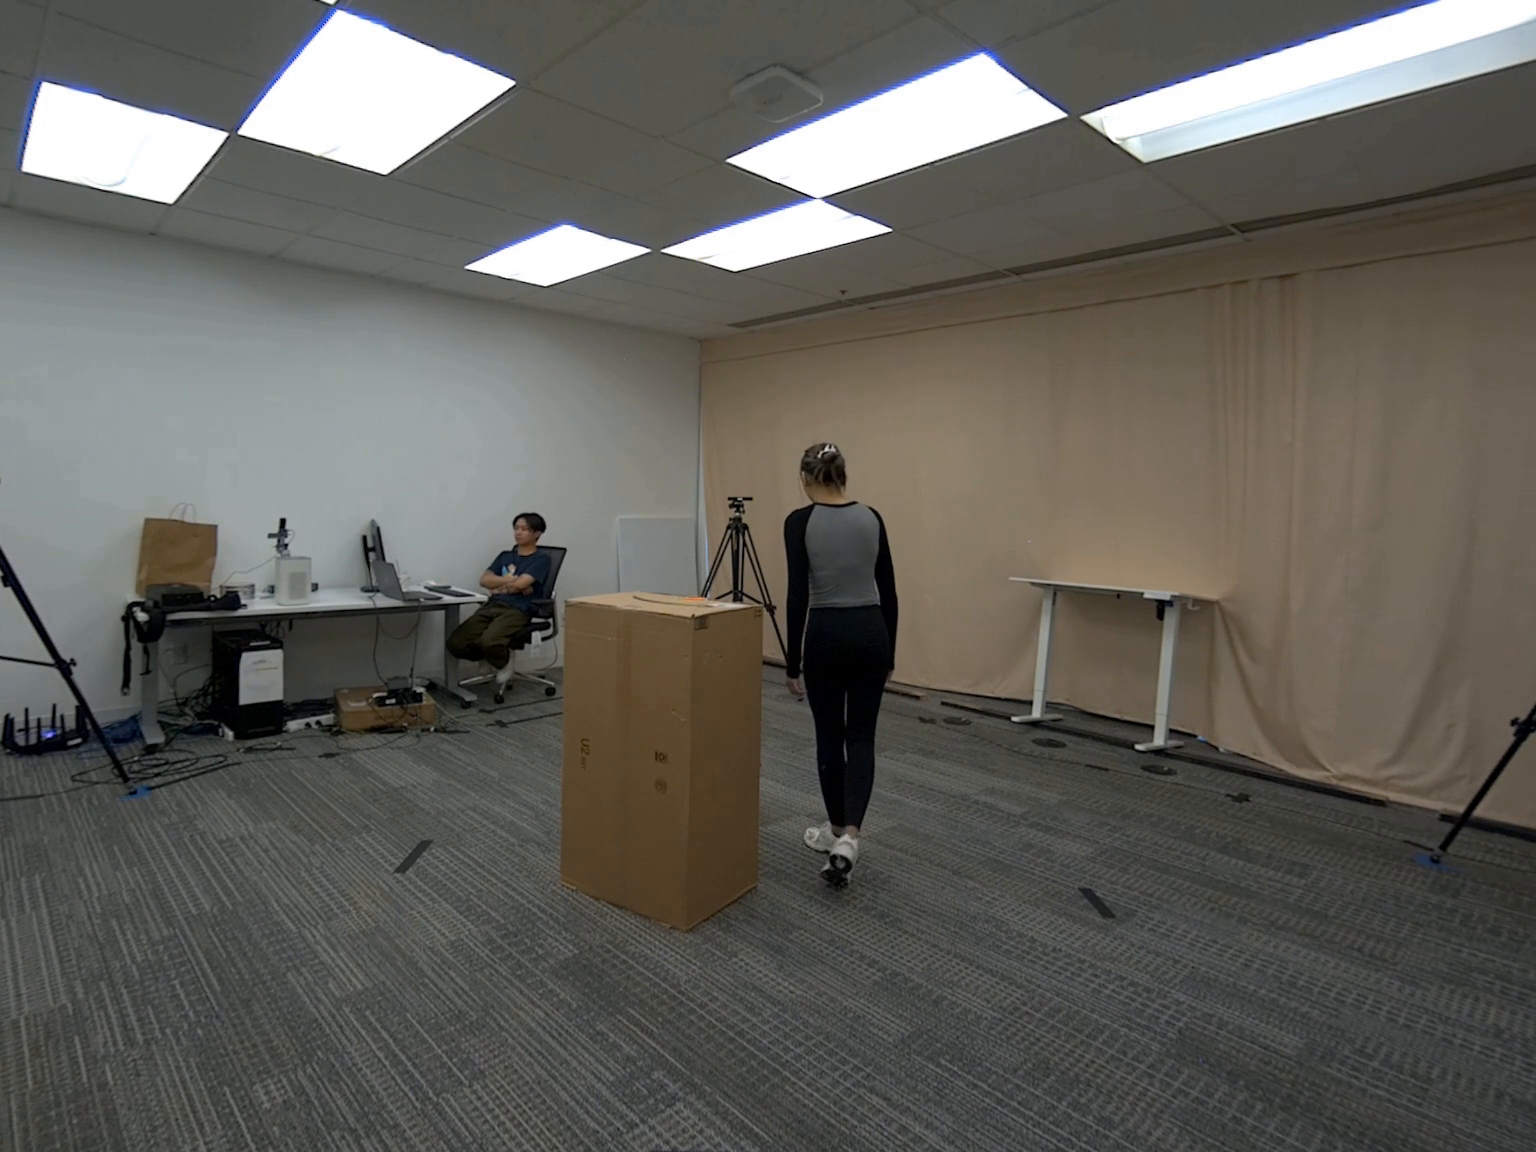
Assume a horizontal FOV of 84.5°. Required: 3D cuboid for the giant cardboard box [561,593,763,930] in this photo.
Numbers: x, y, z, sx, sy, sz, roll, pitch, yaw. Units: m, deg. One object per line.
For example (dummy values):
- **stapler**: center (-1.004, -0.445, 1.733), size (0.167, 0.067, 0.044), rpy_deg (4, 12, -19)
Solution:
- **giant cardboard box**: center (-0.384, 0.603, 2.997), size (0.591, 1.023, 0.417), rpy_deg (4, 4, 34)
